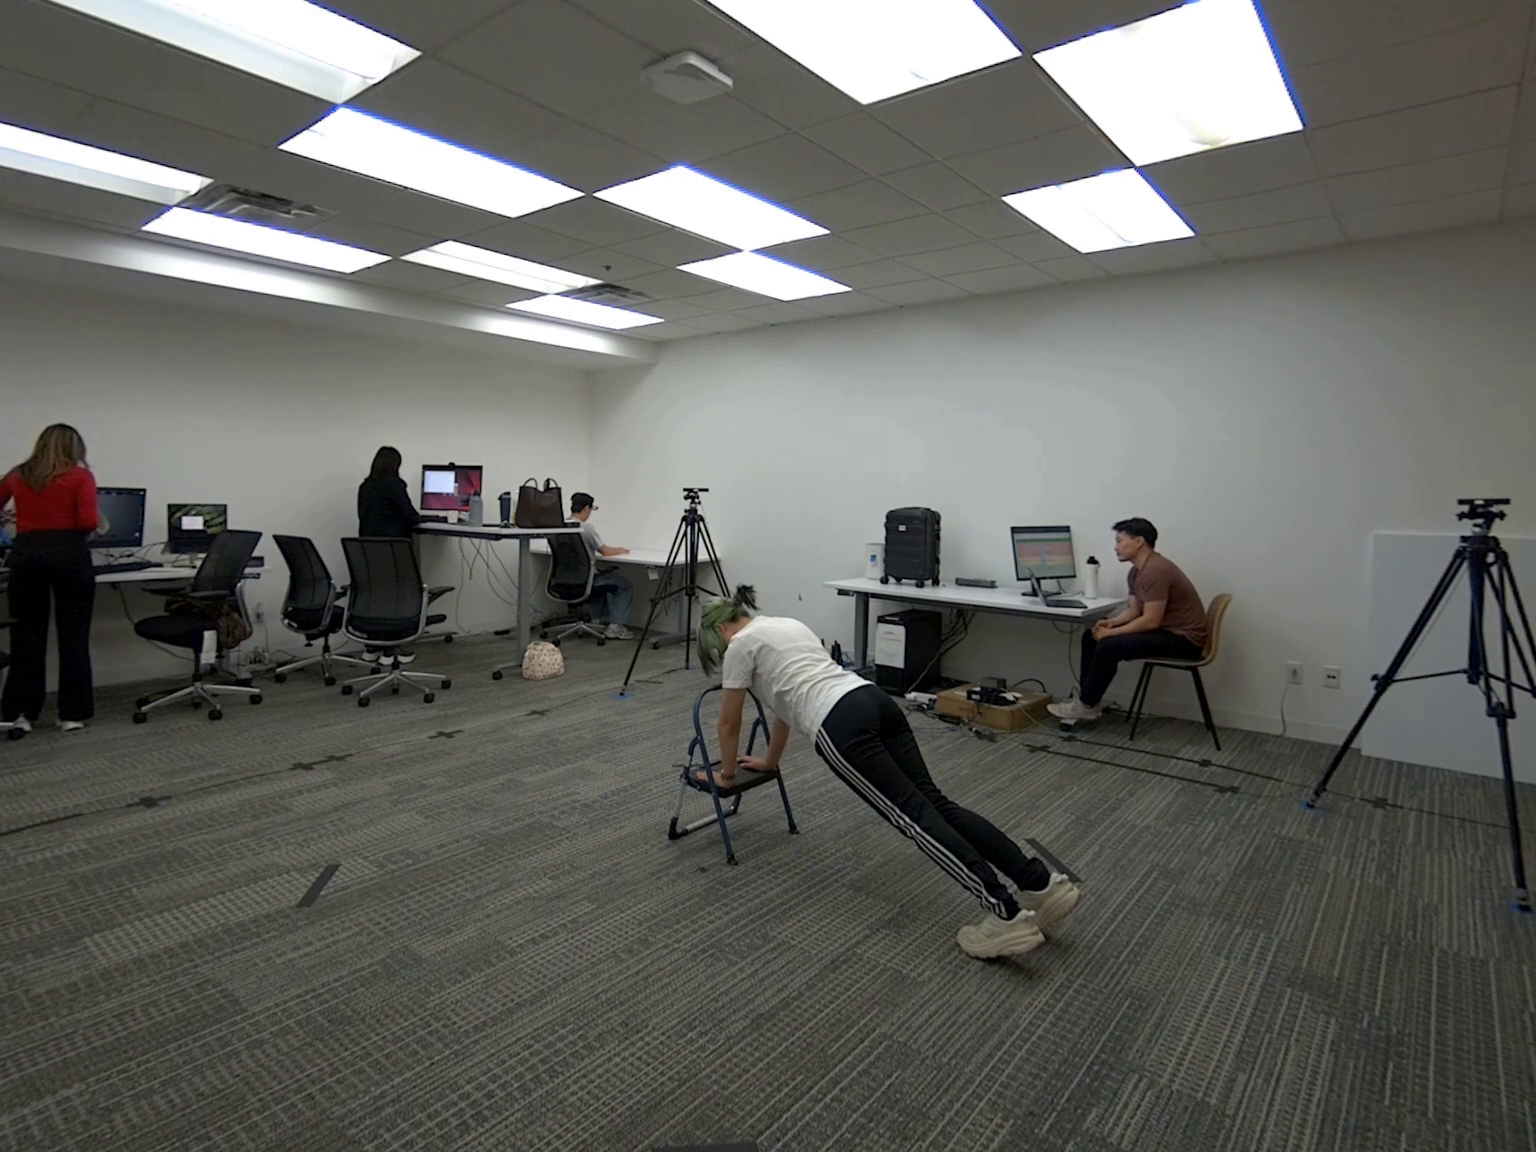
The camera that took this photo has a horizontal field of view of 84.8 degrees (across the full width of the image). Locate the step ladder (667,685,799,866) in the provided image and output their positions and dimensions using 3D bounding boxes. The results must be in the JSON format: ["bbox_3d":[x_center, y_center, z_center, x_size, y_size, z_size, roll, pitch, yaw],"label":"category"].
[{"bbox_3d":[-0.144,0.740,3.403,0.361,0.604,0.418,4,4,38],"label":"step ladder"}]
